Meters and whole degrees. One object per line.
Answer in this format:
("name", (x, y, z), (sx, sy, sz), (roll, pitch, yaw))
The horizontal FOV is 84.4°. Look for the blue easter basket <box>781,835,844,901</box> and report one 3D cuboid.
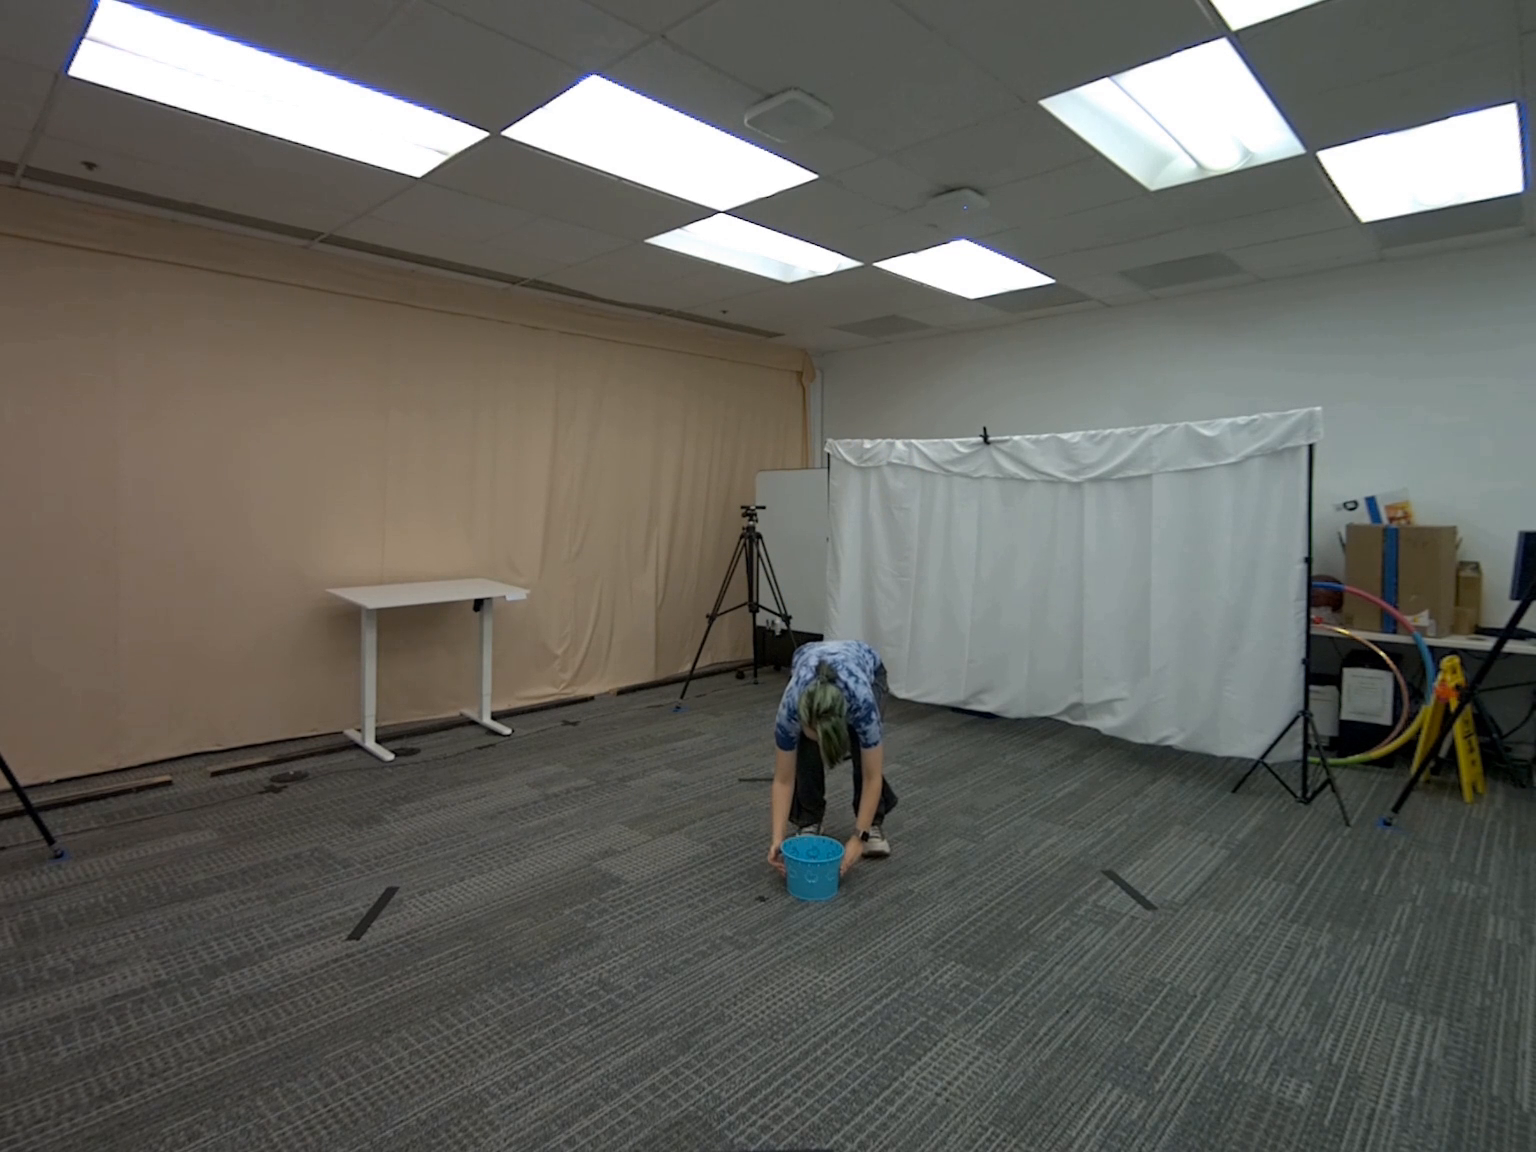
("blue easter basket", (0.155, 1.051, 3.061), (0.243, 0.155, 0.244), (-1, 4, -2))
